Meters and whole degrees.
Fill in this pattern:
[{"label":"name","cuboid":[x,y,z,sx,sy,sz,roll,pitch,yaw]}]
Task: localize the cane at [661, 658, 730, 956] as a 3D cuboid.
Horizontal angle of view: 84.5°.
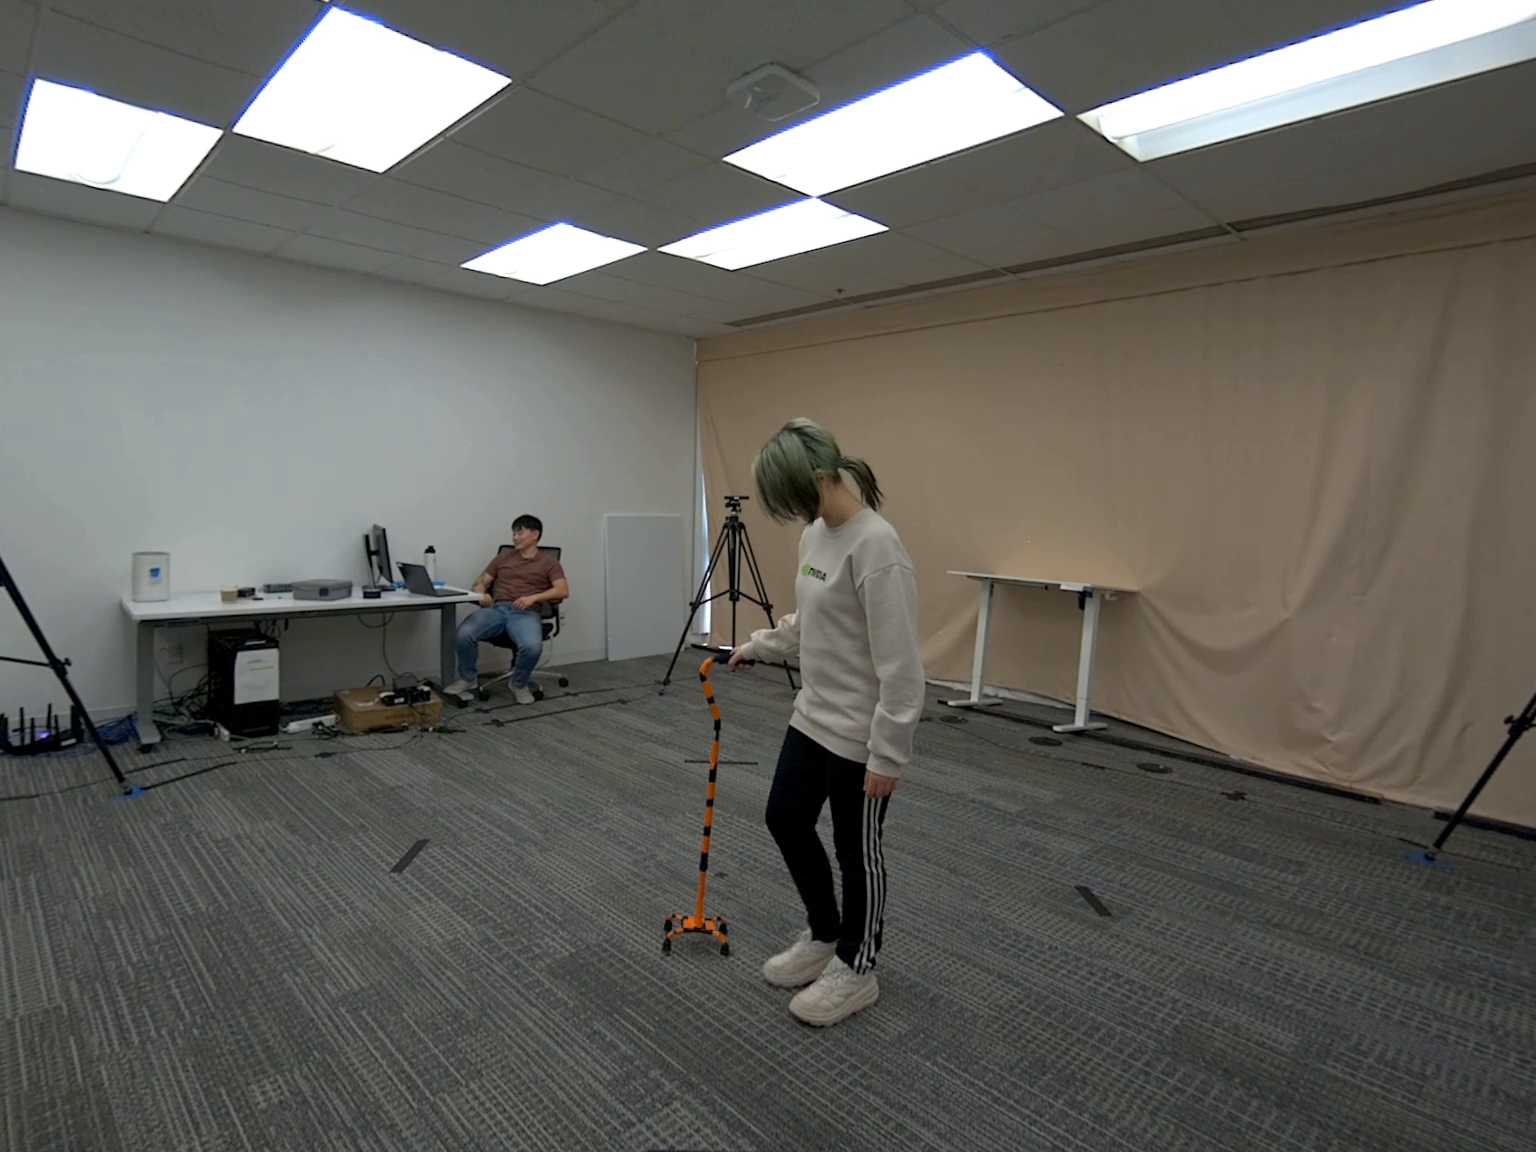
[{"label":"cane","cuboid":[-0.189,0.695,2.596,0.205,0.906,0.152,5,3,-5]}]
